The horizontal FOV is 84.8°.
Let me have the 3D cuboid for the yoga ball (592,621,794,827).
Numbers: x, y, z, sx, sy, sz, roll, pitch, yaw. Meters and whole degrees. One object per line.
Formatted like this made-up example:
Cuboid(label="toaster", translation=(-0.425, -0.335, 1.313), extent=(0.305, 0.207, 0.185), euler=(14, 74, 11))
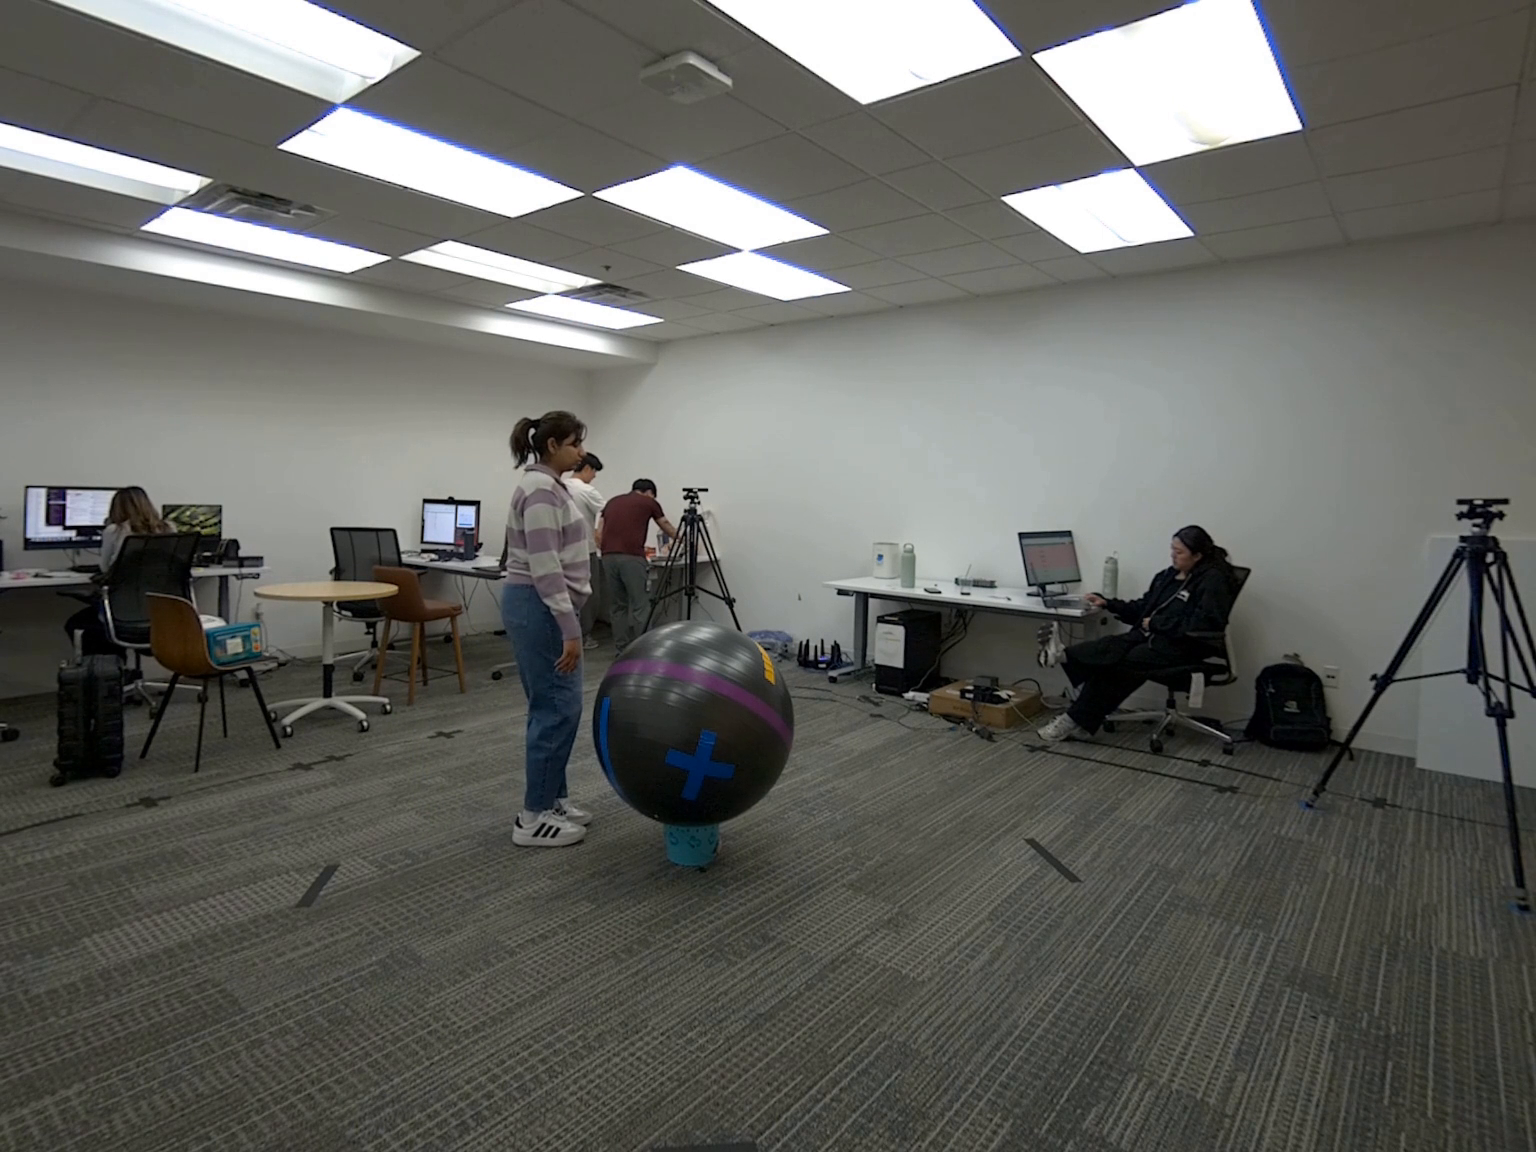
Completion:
Cuboid(label="yoga ball", translation=(-0.291, 0.551, 3.202), extent=(0.757, 0.756, 0.762), euler=(1, 4, -2))
